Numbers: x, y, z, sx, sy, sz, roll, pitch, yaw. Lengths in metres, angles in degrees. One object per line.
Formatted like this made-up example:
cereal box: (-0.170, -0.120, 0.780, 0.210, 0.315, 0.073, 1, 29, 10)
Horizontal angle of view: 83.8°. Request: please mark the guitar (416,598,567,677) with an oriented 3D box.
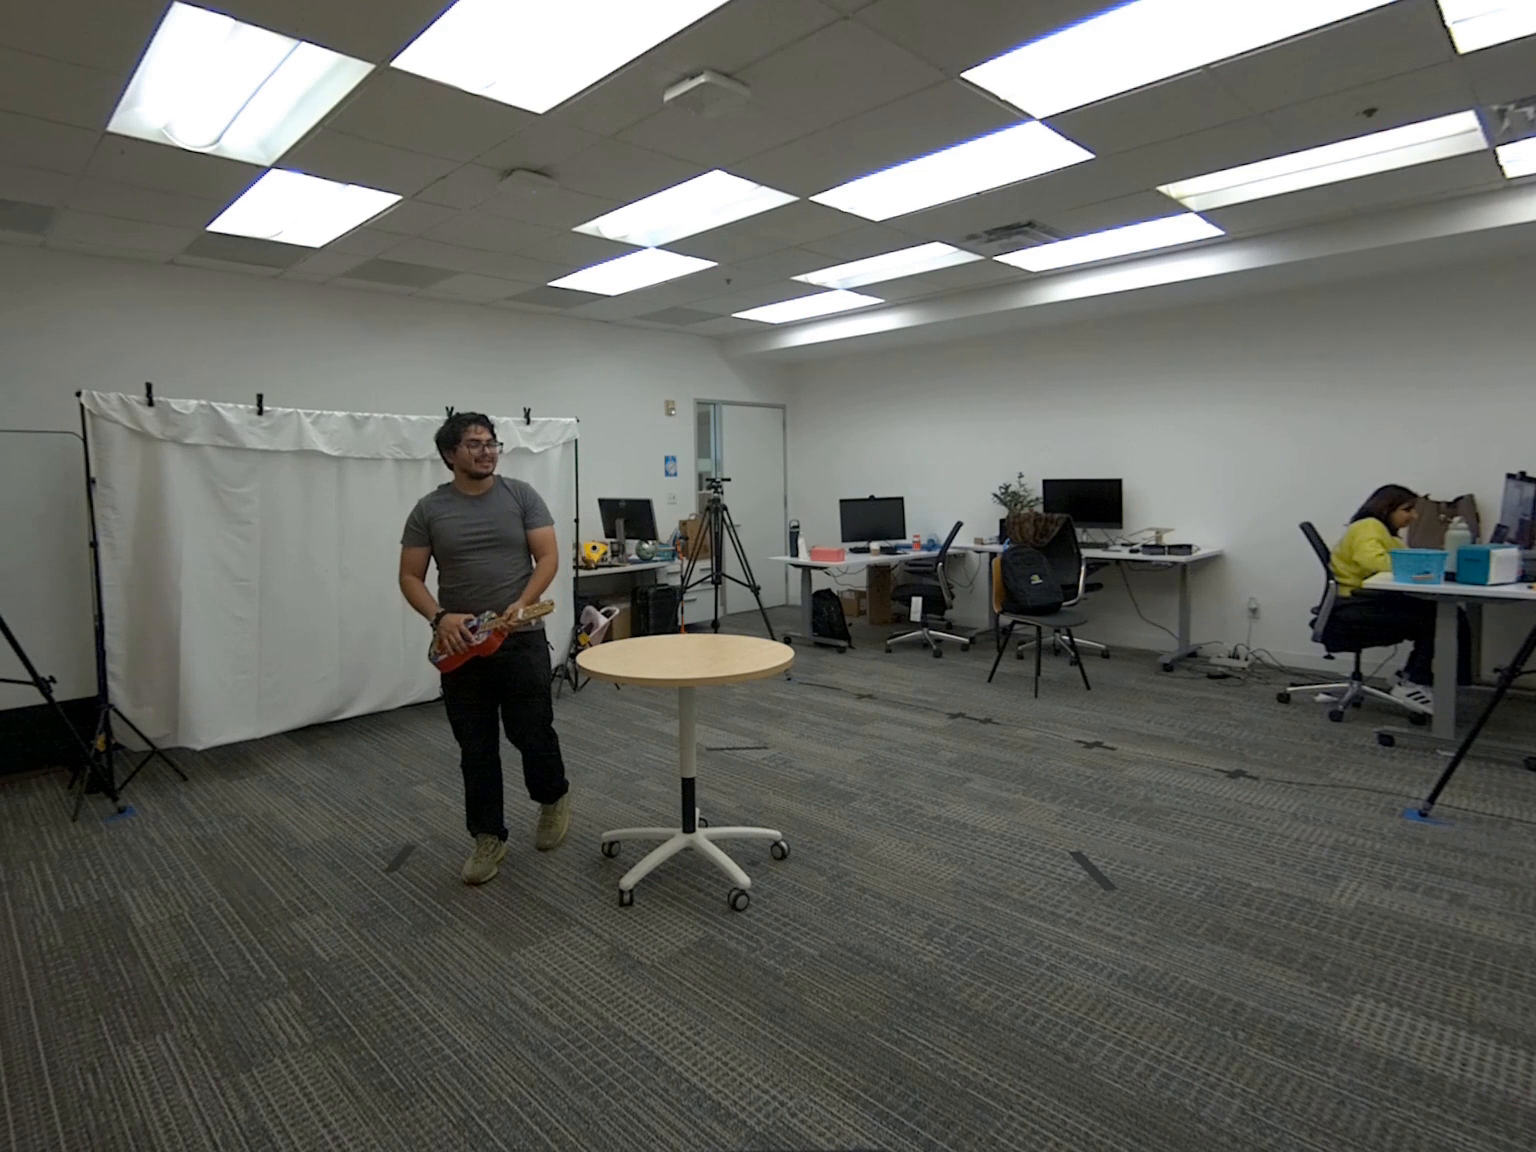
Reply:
guitar: (-0.914, 0.203, 2.821, 0.507, 0.197, 0.068, -10, -45, 25)
